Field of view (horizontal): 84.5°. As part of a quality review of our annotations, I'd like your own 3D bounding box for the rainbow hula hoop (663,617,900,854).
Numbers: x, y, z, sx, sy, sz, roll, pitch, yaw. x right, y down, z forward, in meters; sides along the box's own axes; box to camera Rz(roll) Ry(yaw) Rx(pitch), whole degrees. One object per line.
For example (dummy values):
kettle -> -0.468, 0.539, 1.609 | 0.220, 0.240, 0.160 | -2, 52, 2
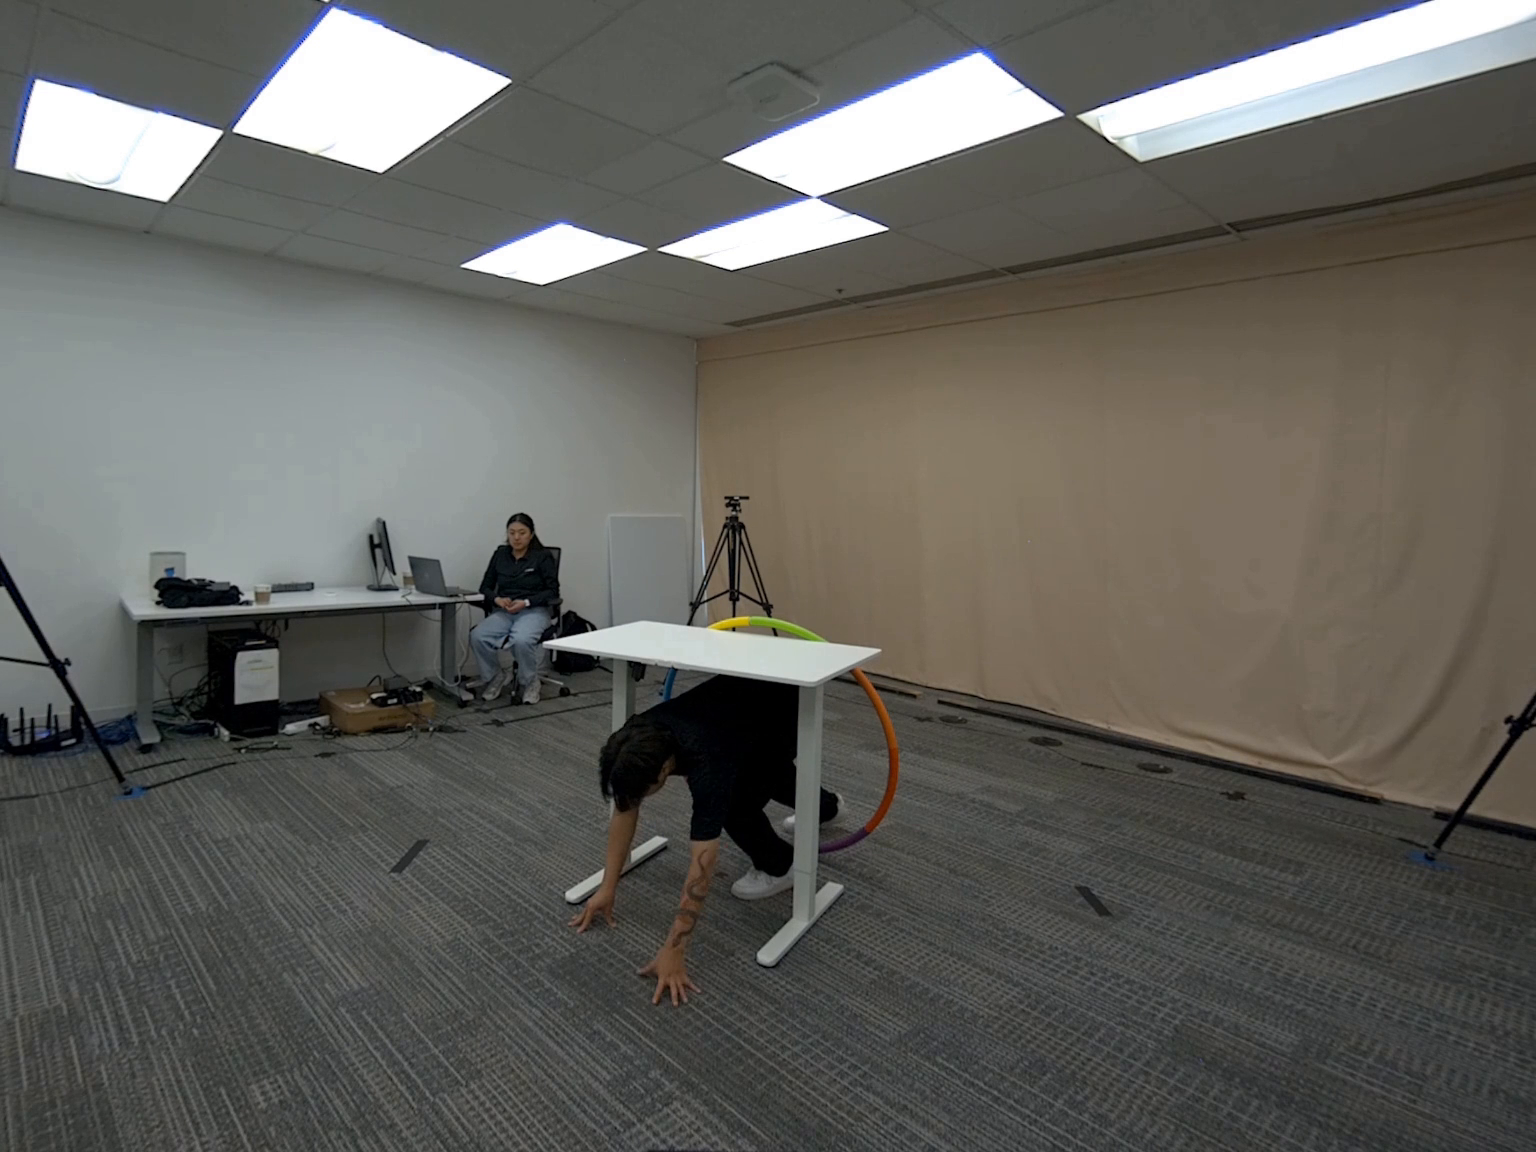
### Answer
rainbow hula hoop -> 0.007, 0.627, 3.226 | 0.999, 0.968, 0.035 | 4, 16, 29
